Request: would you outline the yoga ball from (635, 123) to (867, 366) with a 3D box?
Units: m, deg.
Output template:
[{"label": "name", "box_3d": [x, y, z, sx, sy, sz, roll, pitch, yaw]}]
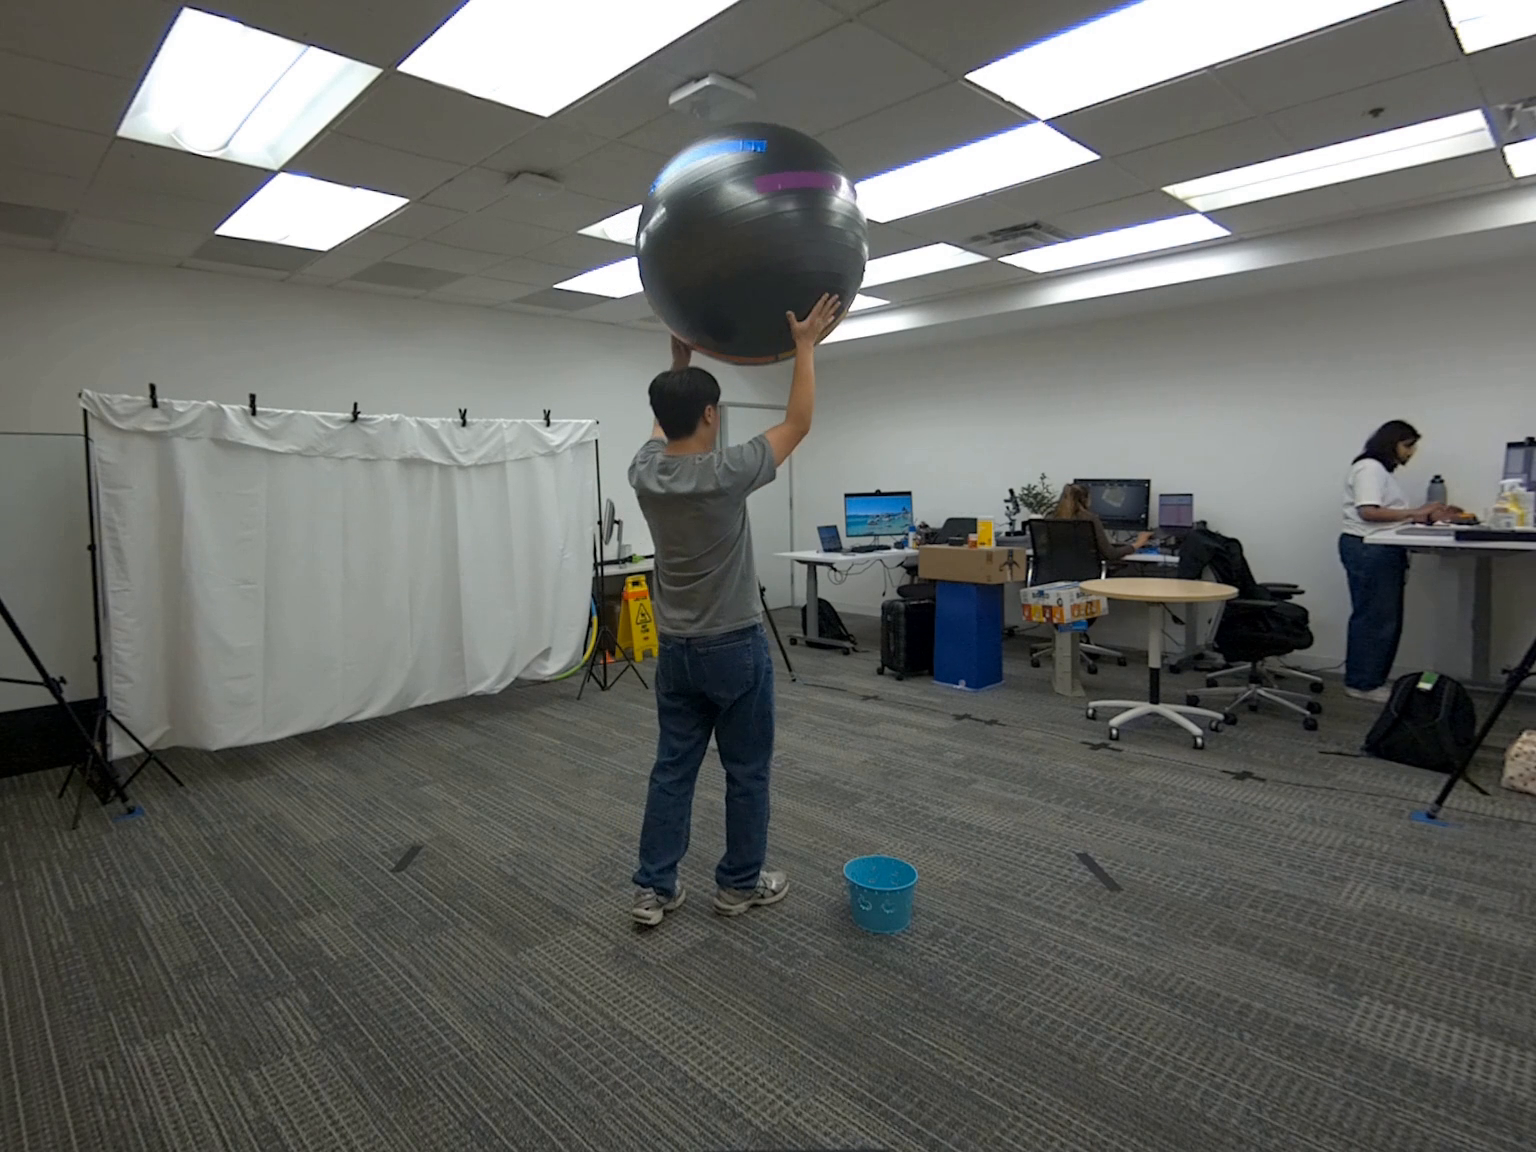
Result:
[{"label": "yoga ball", "box_3d": [-0.057, -1.073, 2.805, 0.757, 0.755, 0.762, -1, 5, -2]}]
